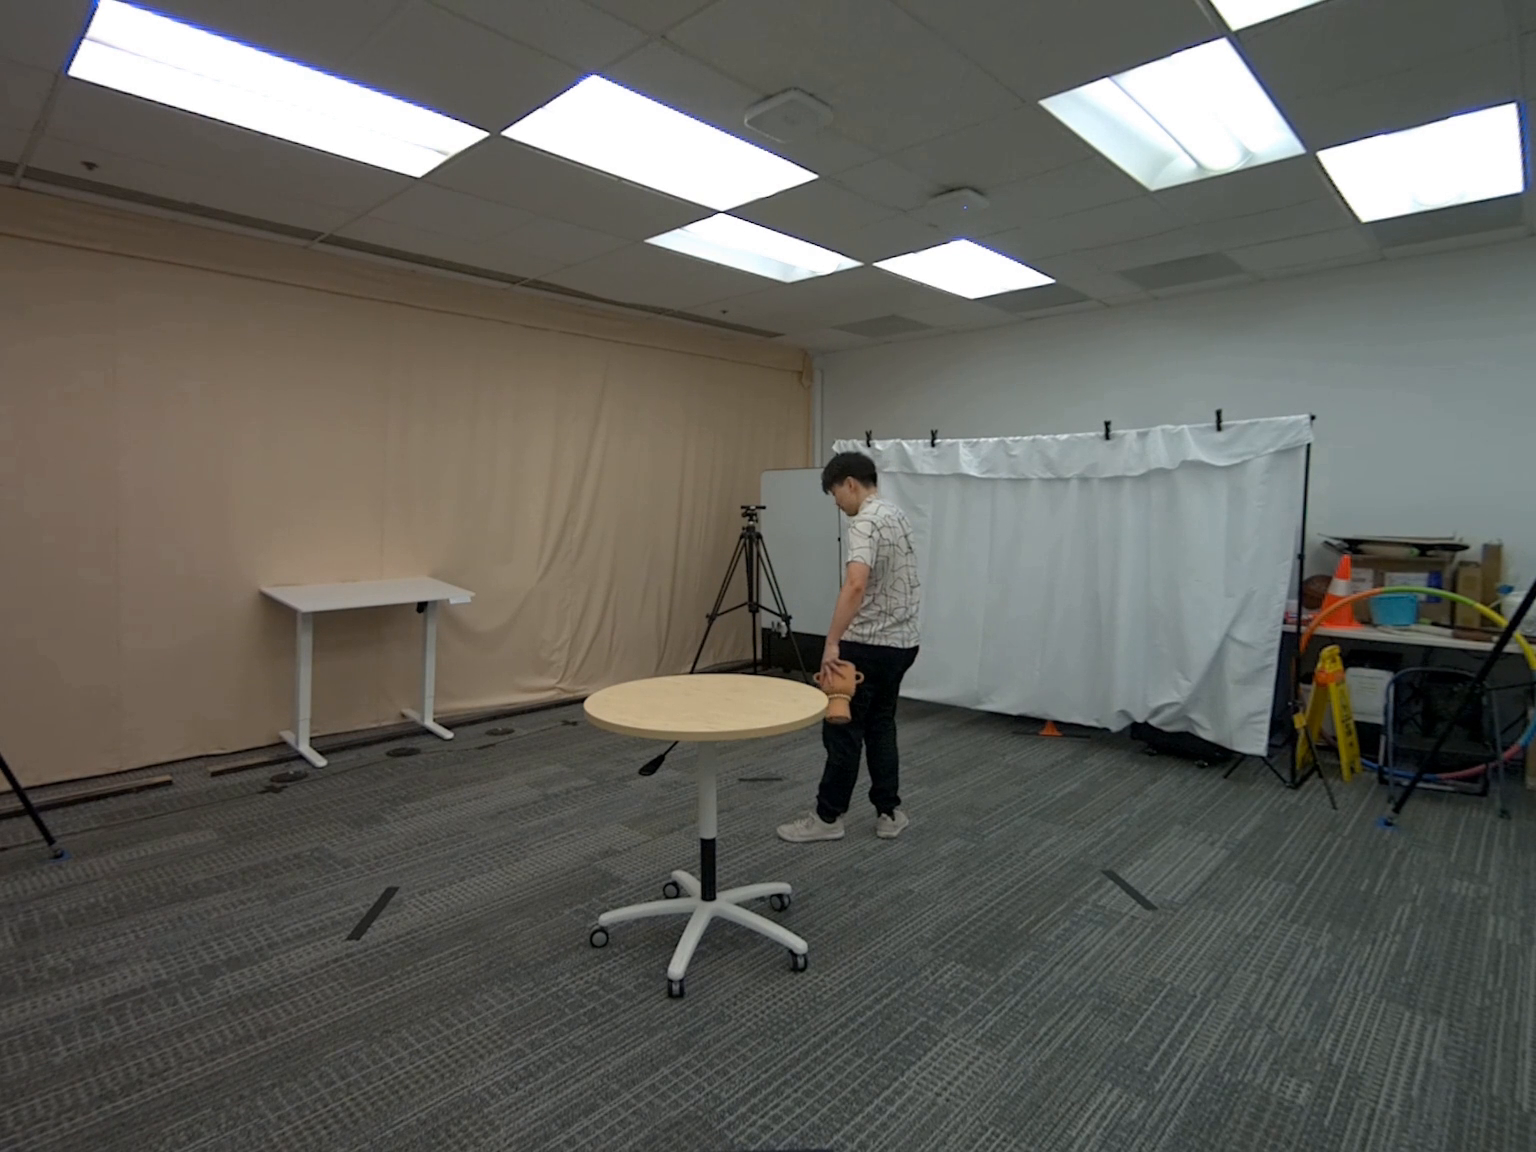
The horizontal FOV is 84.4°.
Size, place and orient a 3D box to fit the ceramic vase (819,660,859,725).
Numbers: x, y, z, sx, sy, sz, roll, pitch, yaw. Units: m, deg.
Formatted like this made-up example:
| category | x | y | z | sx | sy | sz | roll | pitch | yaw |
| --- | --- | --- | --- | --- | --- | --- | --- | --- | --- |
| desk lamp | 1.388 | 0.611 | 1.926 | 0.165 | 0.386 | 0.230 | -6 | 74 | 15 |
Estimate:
| category | x | y | z | sx | sy | sz | roll | pitch | yaw |
| --- | --- | --- | --- | --- | --- | --- | --- | --- | --- |
| ceramic vase | 0.280 | 0.454 | 3.302 | 0.130 | 0.223 | 0.162 | 22 | -34 | -33 |
